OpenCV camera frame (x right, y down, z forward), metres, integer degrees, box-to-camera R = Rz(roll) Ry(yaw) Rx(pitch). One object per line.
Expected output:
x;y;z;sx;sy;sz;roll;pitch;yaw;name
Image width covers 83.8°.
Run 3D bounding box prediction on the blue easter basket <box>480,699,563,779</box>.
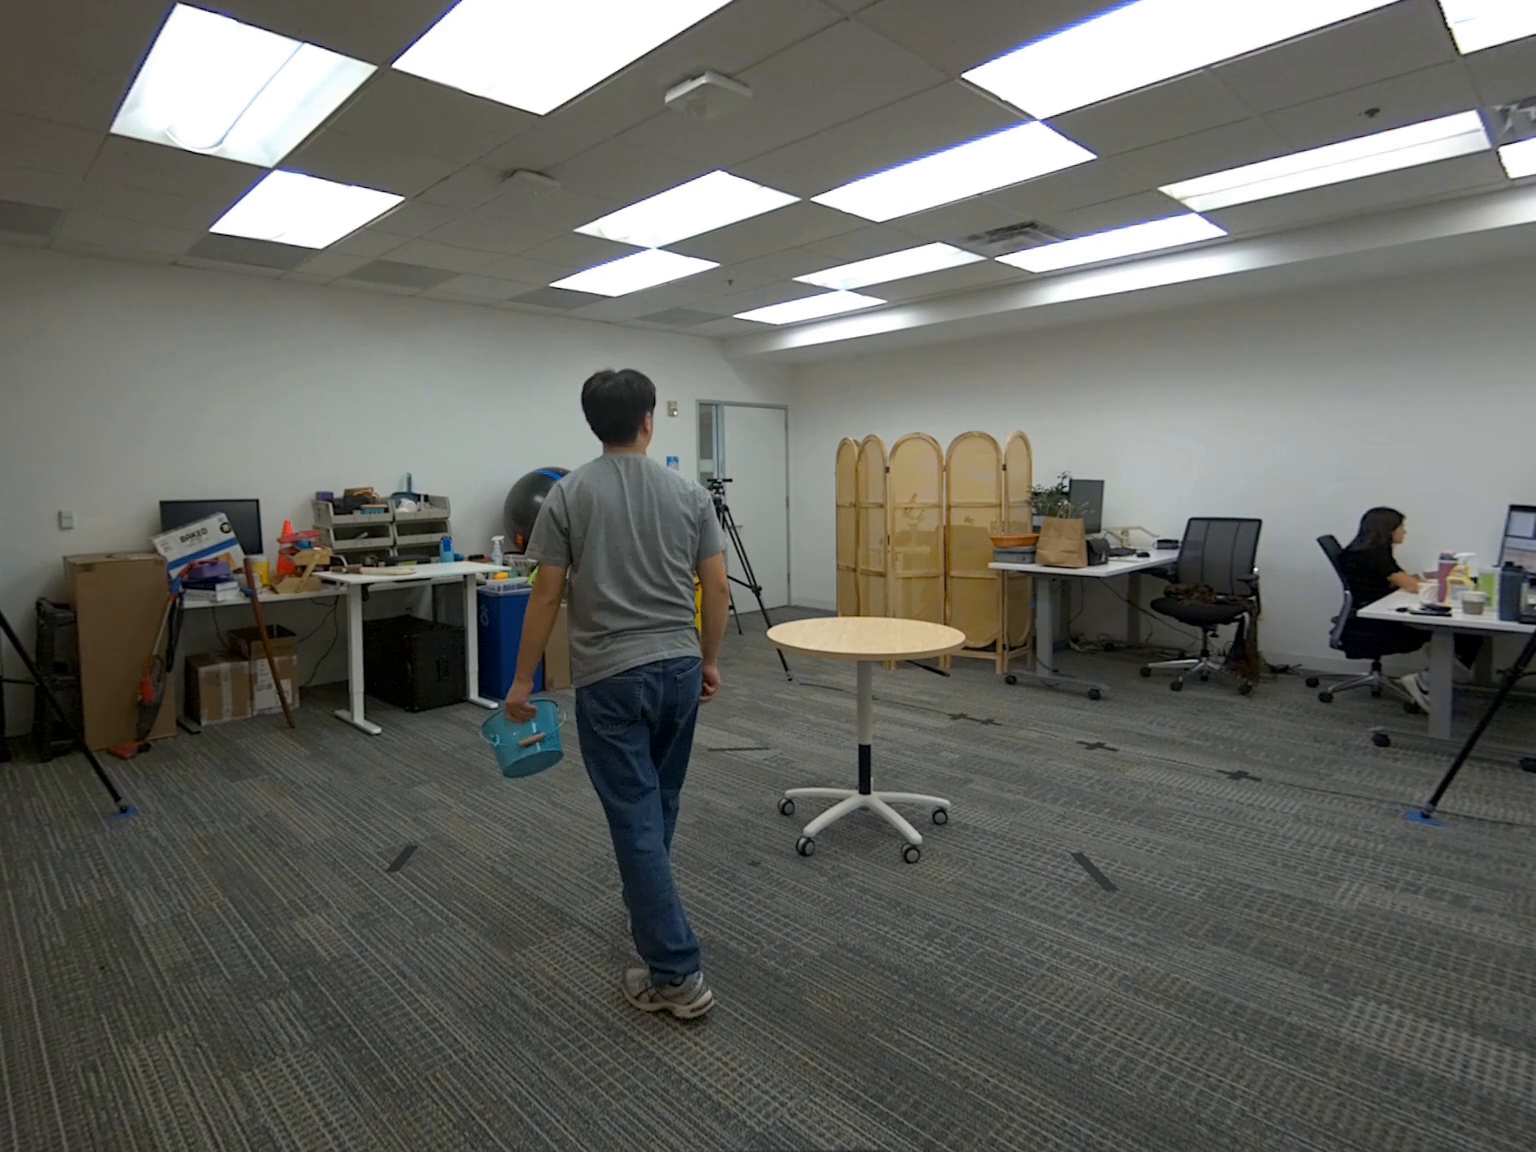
-0.713;0.484;2.517;0.242;0.160;0.238;-18;-24;-10;blue easter basket
